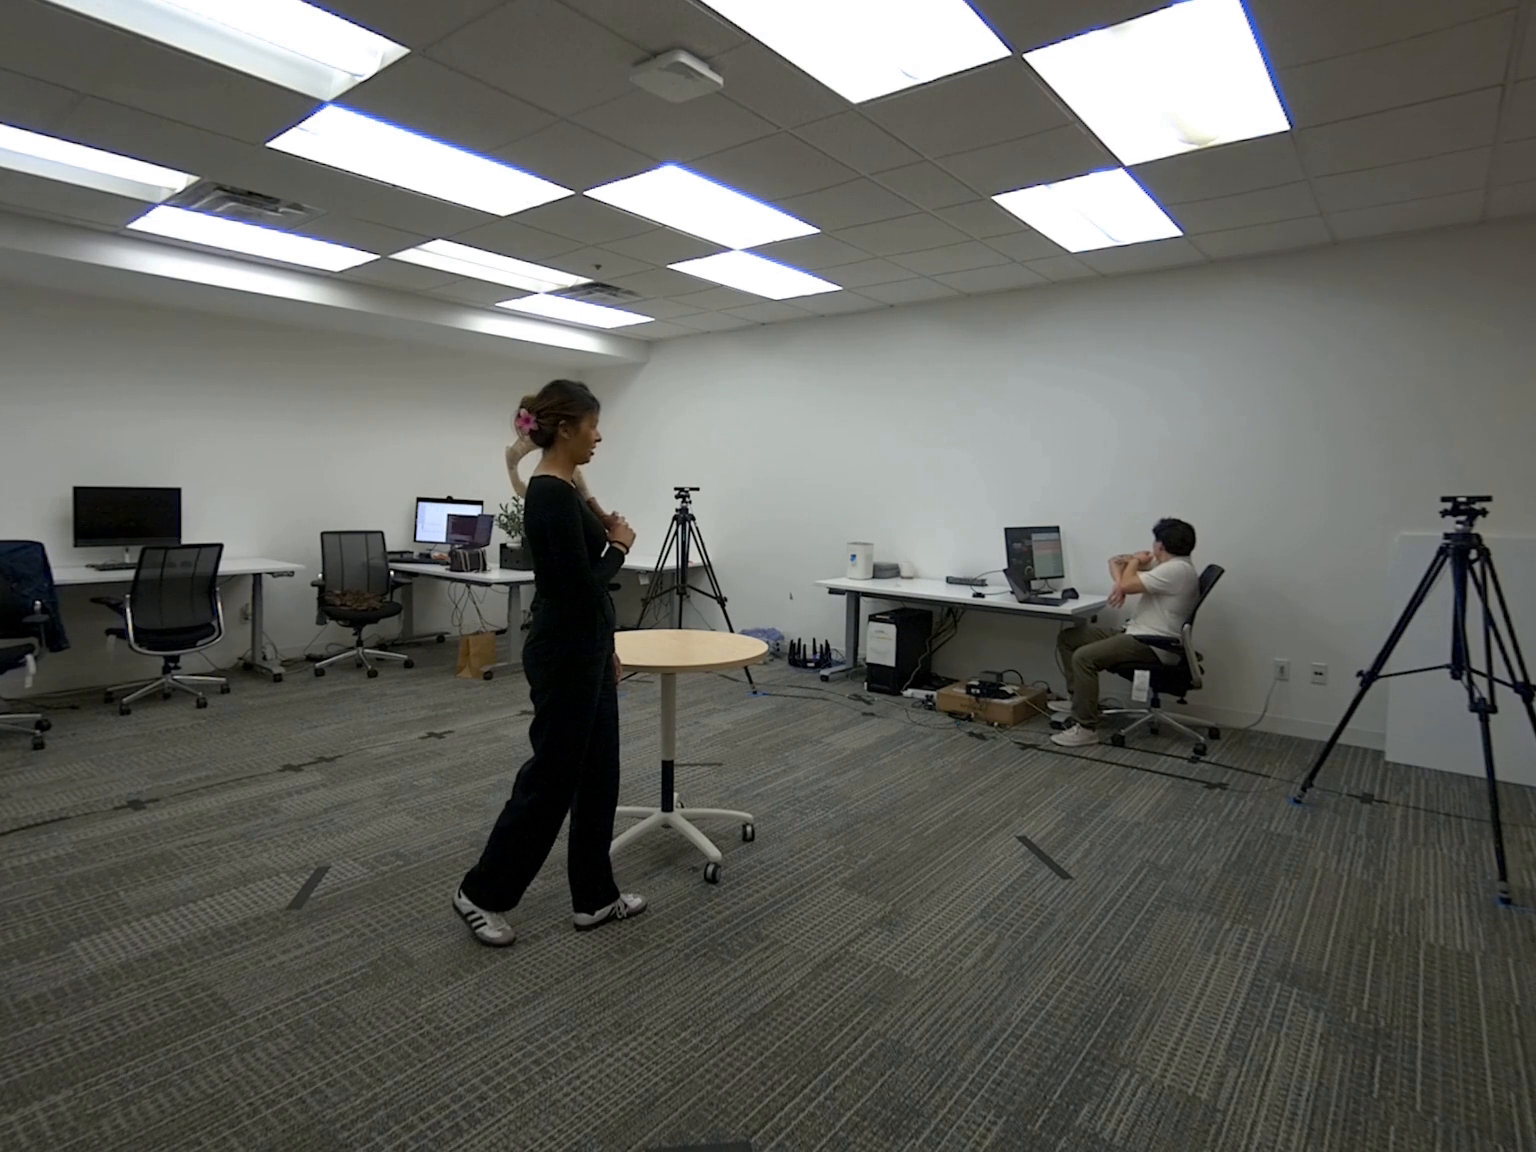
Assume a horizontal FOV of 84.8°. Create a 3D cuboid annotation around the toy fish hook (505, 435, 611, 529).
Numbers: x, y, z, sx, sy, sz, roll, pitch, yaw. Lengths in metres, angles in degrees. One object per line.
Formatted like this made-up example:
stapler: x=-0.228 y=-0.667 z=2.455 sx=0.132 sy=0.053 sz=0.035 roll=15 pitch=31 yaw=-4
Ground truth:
toy fish hook: x=-0.648 y=-0.252 z=2.717 sx=0.225 sy=0.510 sz=0.048 roll=-39 pitch=-4 yaw=2
